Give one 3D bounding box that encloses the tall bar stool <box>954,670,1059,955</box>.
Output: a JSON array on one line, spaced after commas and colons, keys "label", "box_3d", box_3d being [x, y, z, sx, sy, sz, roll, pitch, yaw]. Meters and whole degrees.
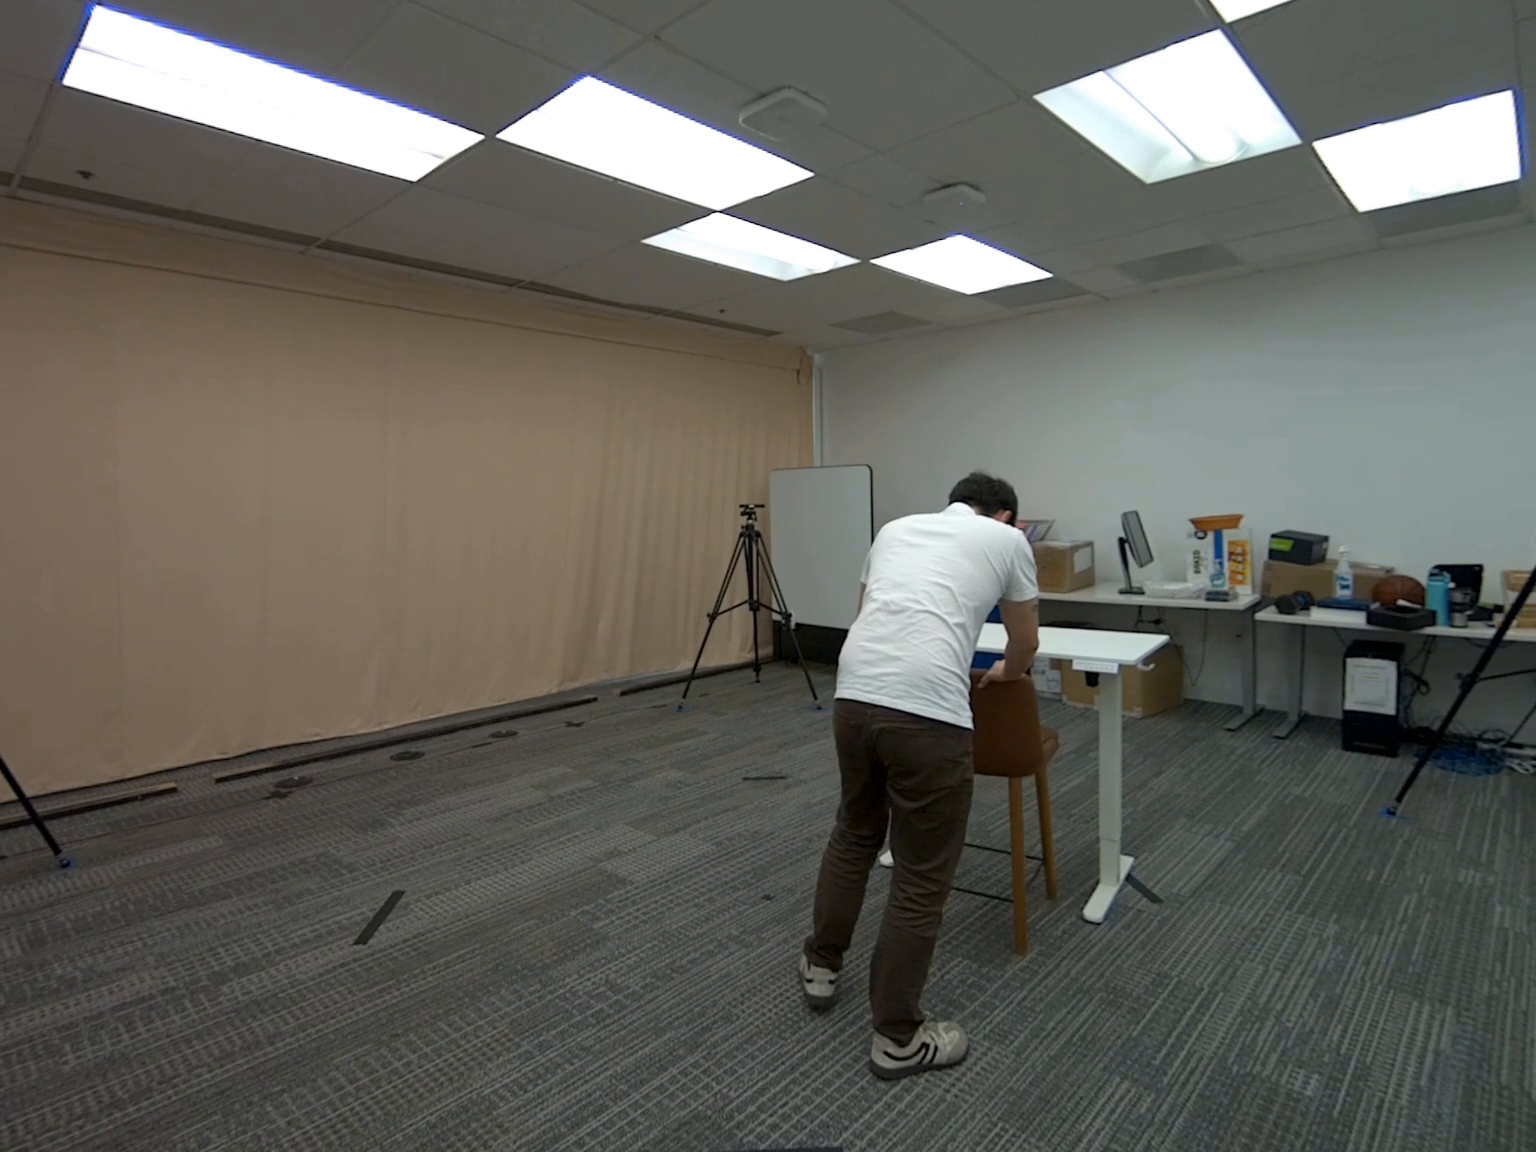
[{"label": "tall bar stool", "box_3d": [0.719, 0.703, 2.827, 0.470, 0.886, 0.456, 1, 6, 31]}]
